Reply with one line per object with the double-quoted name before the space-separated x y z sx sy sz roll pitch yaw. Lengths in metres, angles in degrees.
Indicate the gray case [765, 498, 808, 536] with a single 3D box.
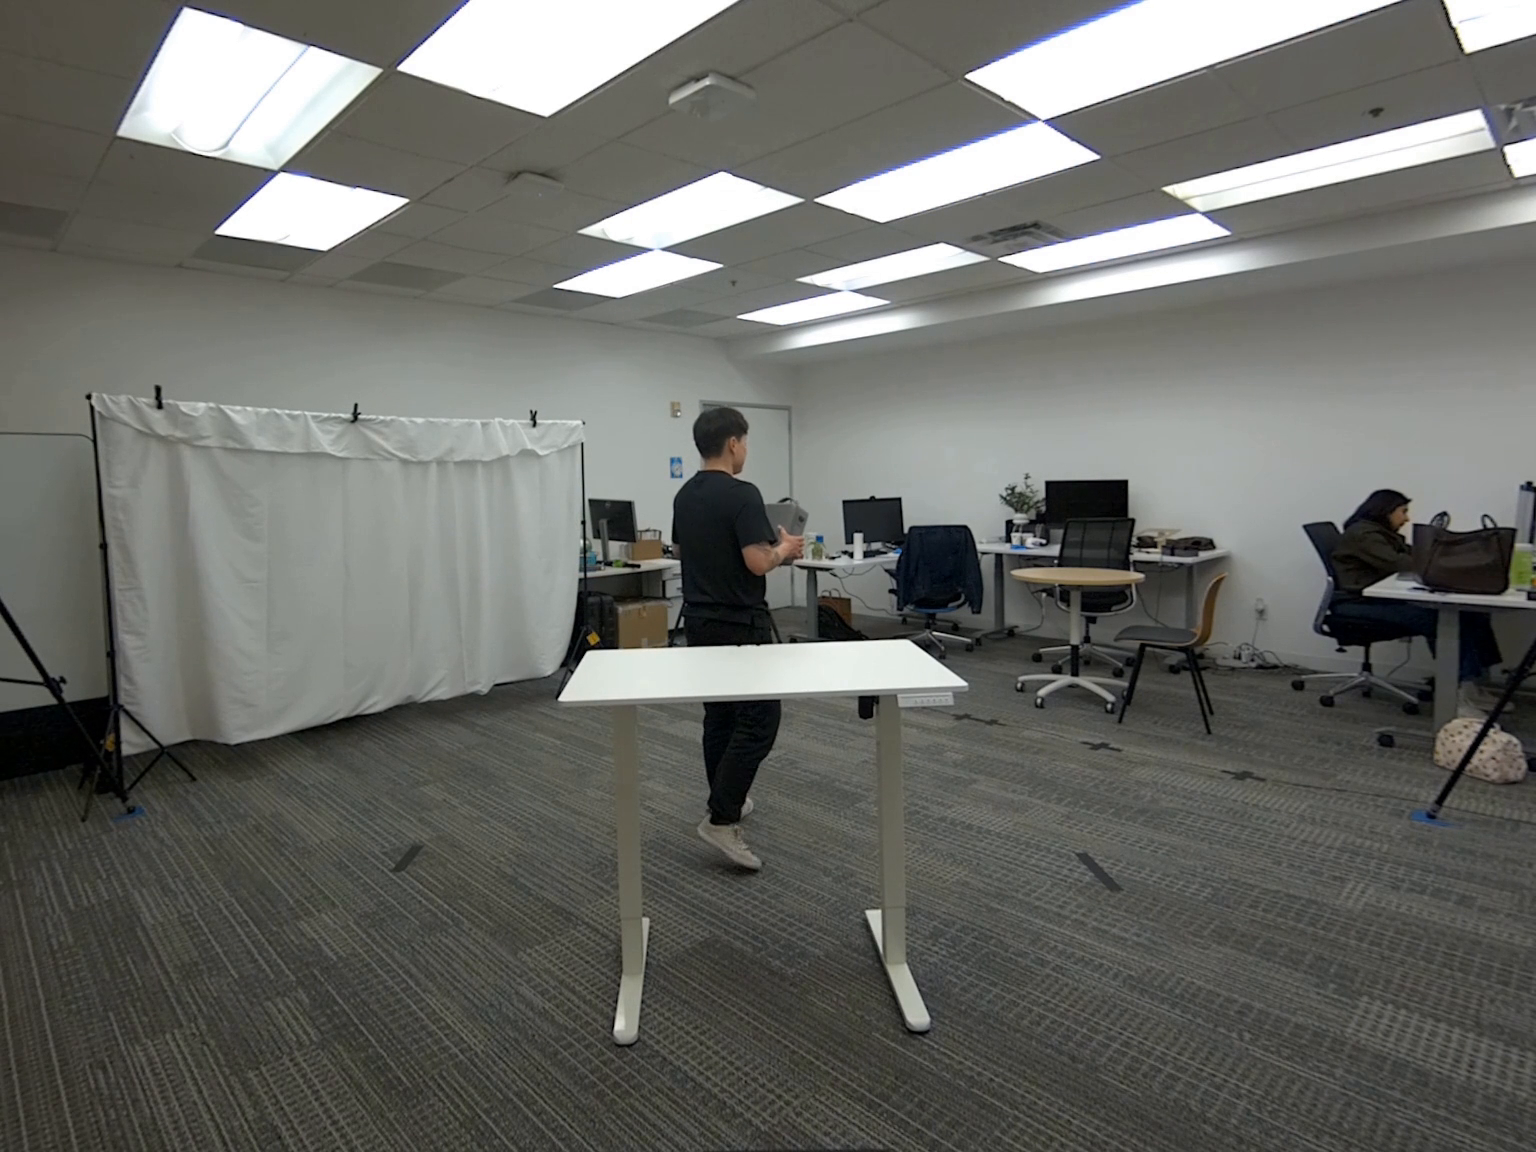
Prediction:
"gray case" 0.023 -0.171 3.491 0.101 0.262 0.264 30 -15 -34
